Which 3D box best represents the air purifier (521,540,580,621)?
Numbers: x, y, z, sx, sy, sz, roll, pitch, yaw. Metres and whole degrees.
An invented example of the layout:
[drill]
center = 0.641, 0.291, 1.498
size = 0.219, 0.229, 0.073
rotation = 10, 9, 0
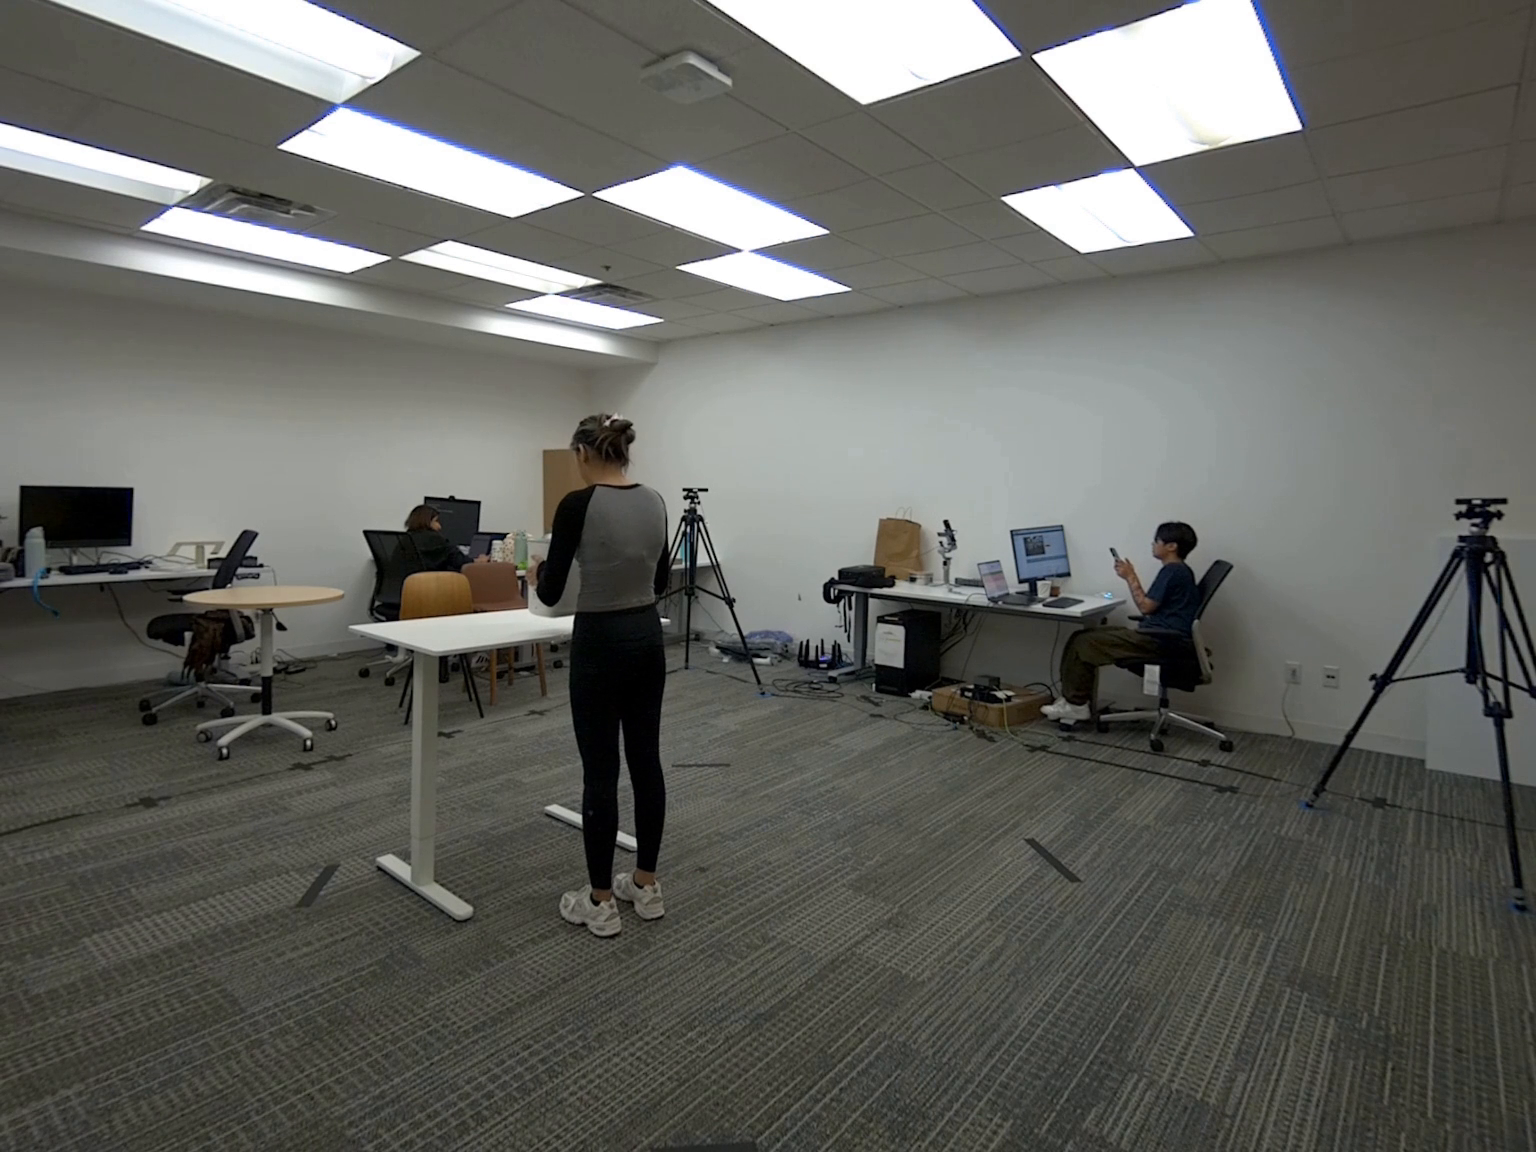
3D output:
[air purifier]
center = -0.750, 0.006, 2.976
size = 0.177, 0.264, 0.166
rotation = 3, 4, 40
